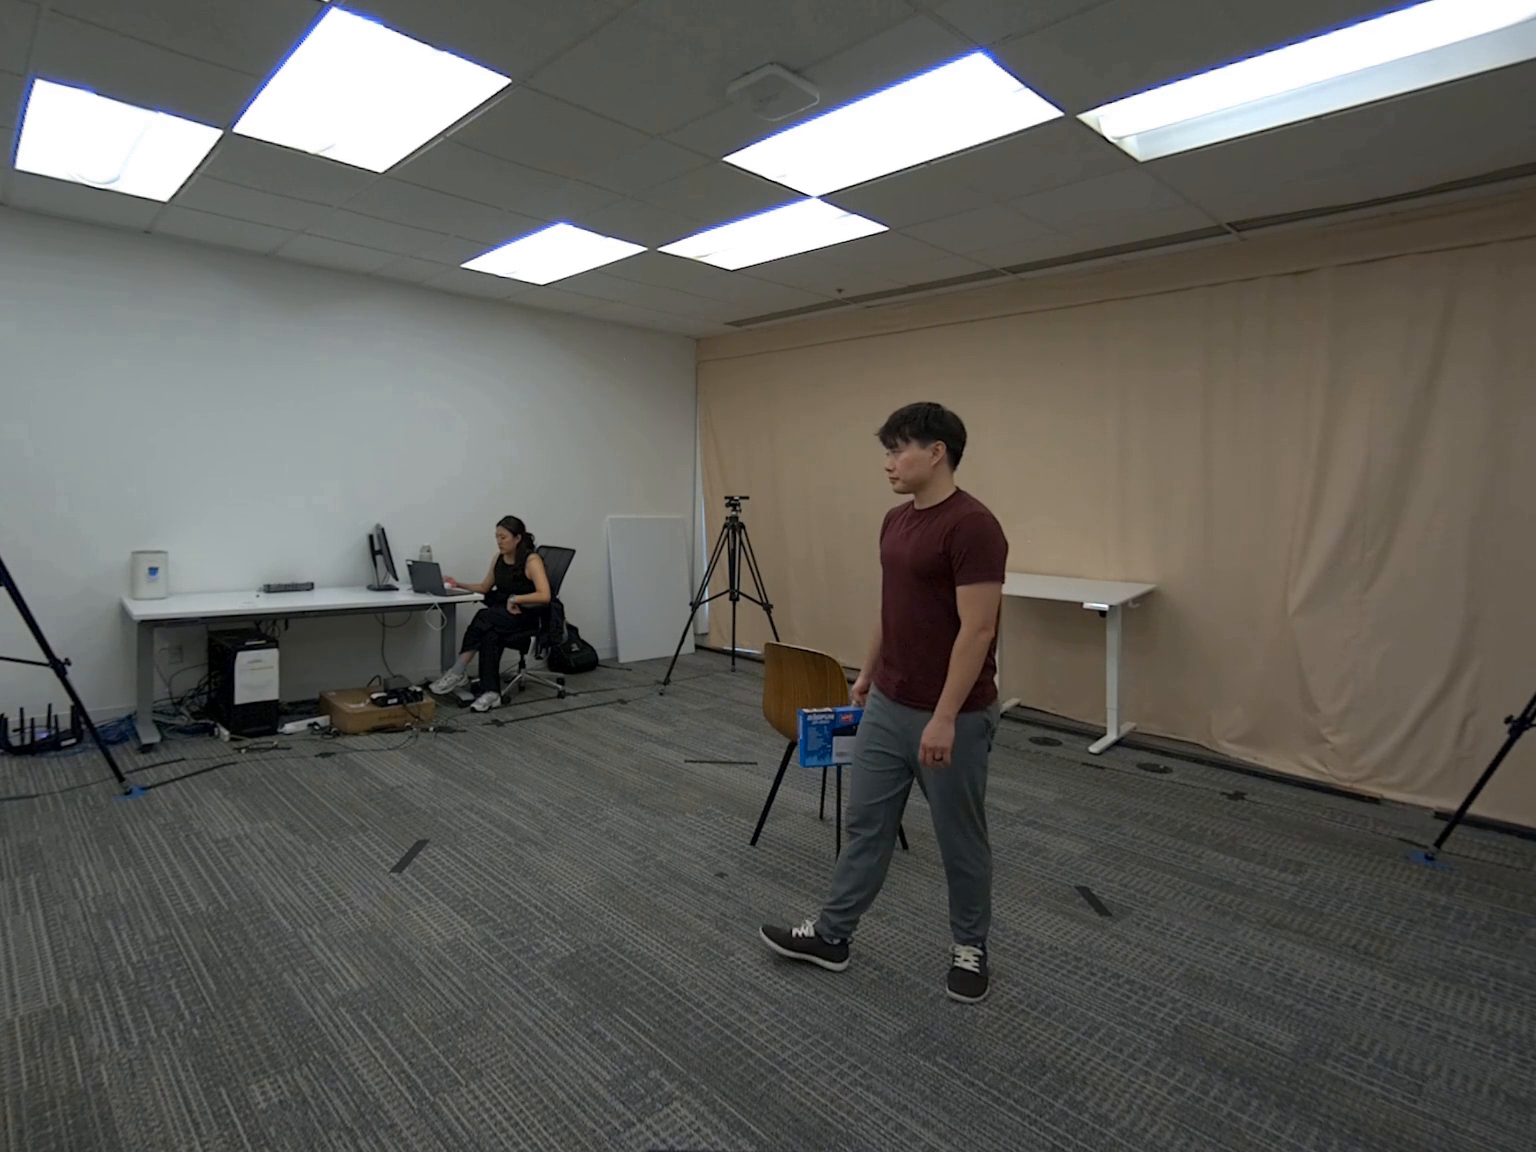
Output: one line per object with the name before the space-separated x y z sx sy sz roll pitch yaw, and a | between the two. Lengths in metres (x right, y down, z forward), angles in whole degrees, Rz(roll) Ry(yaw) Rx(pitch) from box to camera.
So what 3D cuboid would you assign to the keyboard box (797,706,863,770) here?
keyboard box | 0.304 0.505 2.668 0.433 0.176 0.059 -1 0 -12
